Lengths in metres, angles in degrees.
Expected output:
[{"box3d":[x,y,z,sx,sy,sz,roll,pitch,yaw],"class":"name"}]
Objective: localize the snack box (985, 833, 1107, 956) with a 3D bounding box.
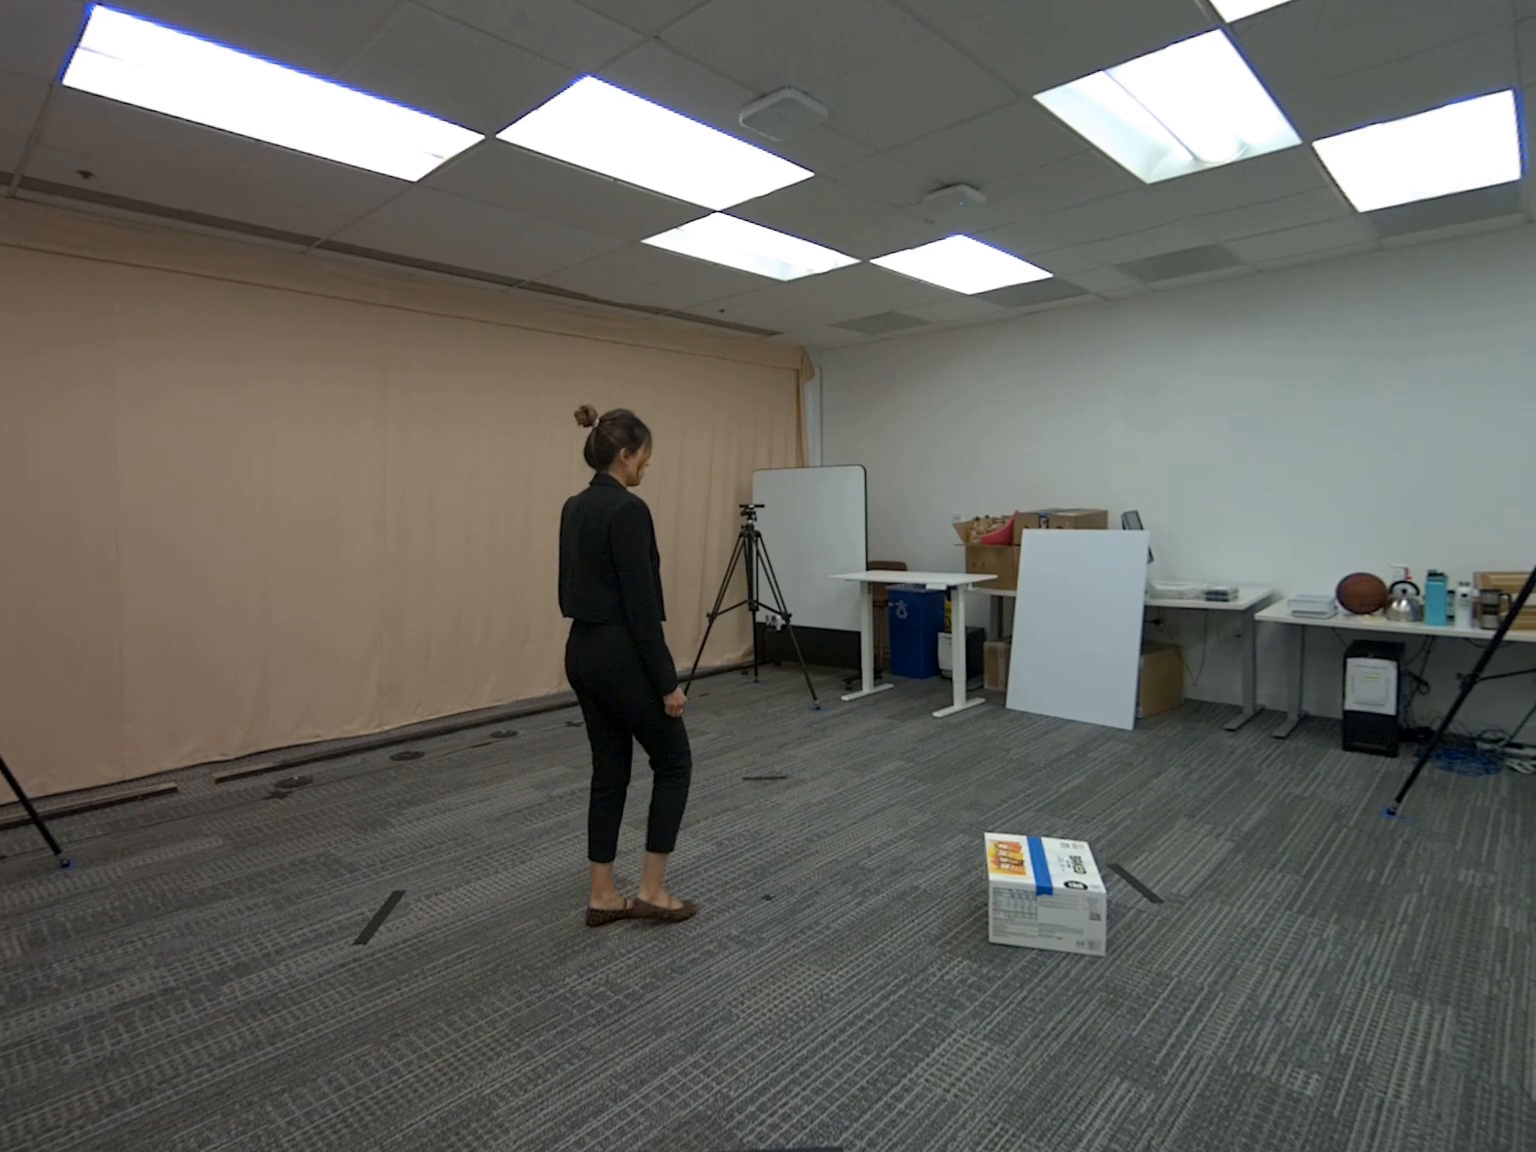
[{"box3d":[0.912,1.041,2.785,0.346,0.205,0.400,0,4,14],"class":"snack box"}]
